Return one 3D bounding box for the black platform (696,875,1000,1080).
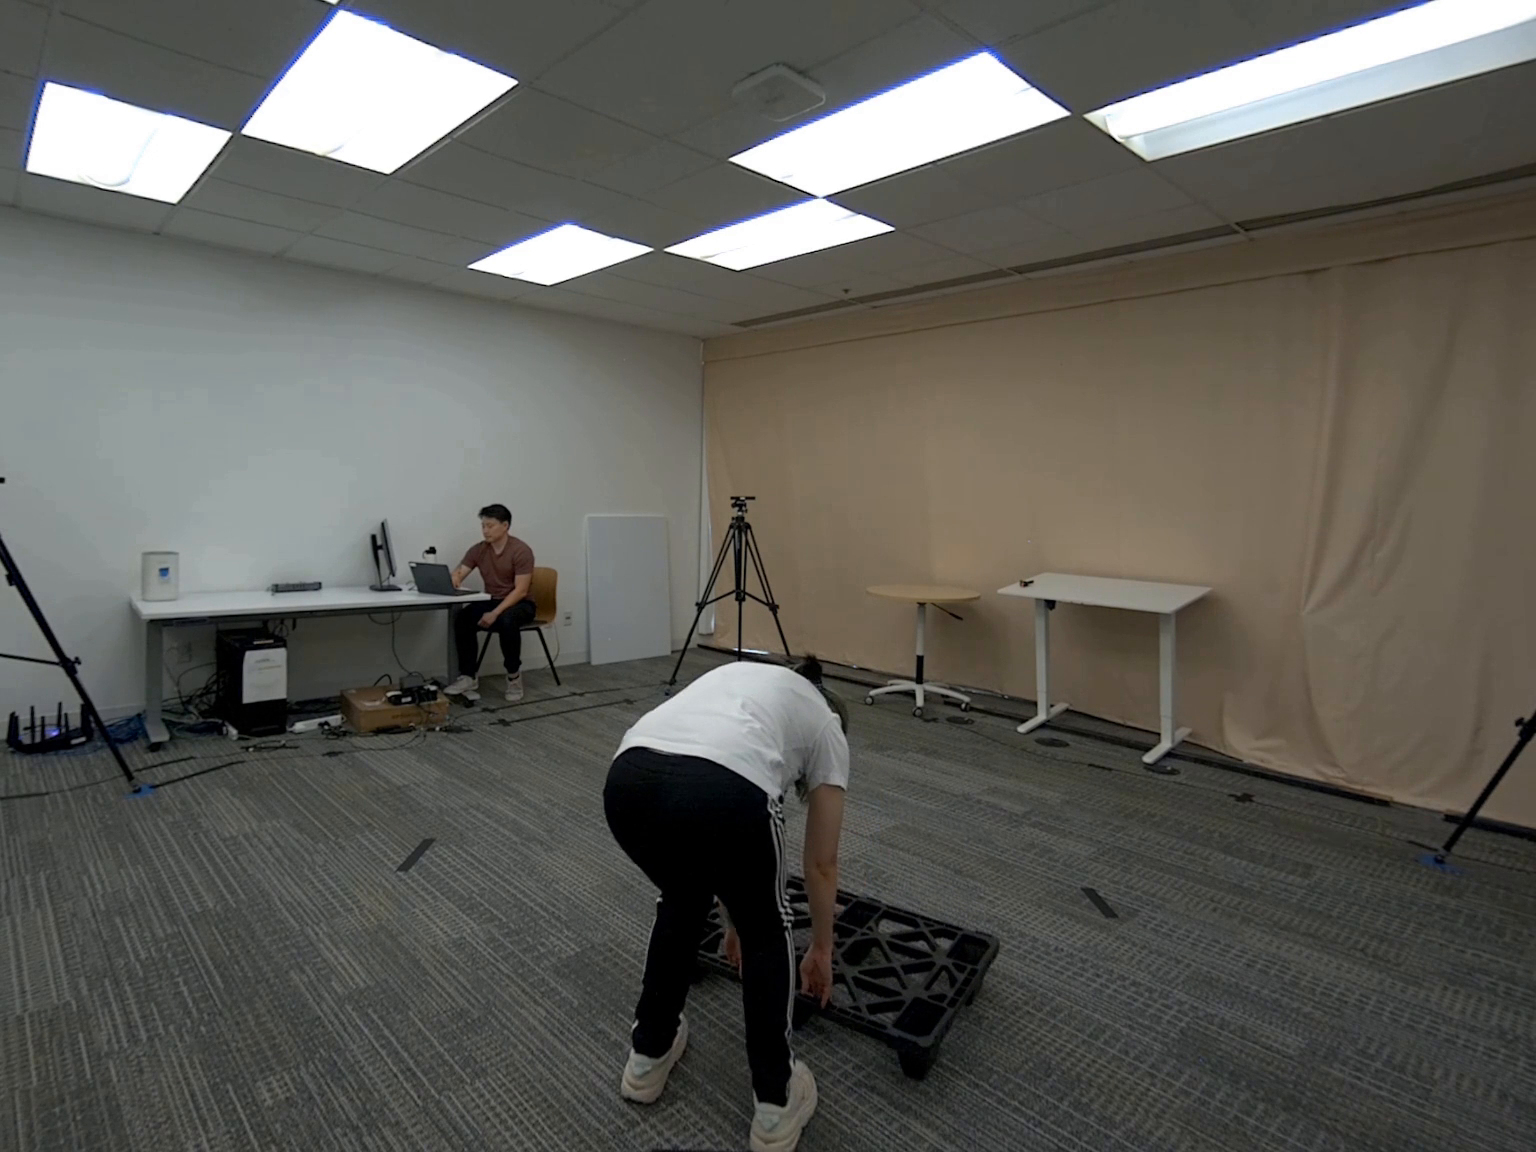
[{"bbox_3d":[0.176,1.108,2.414,0.824,0.143,0.593,5,7,32],"label":"black platform"}]
